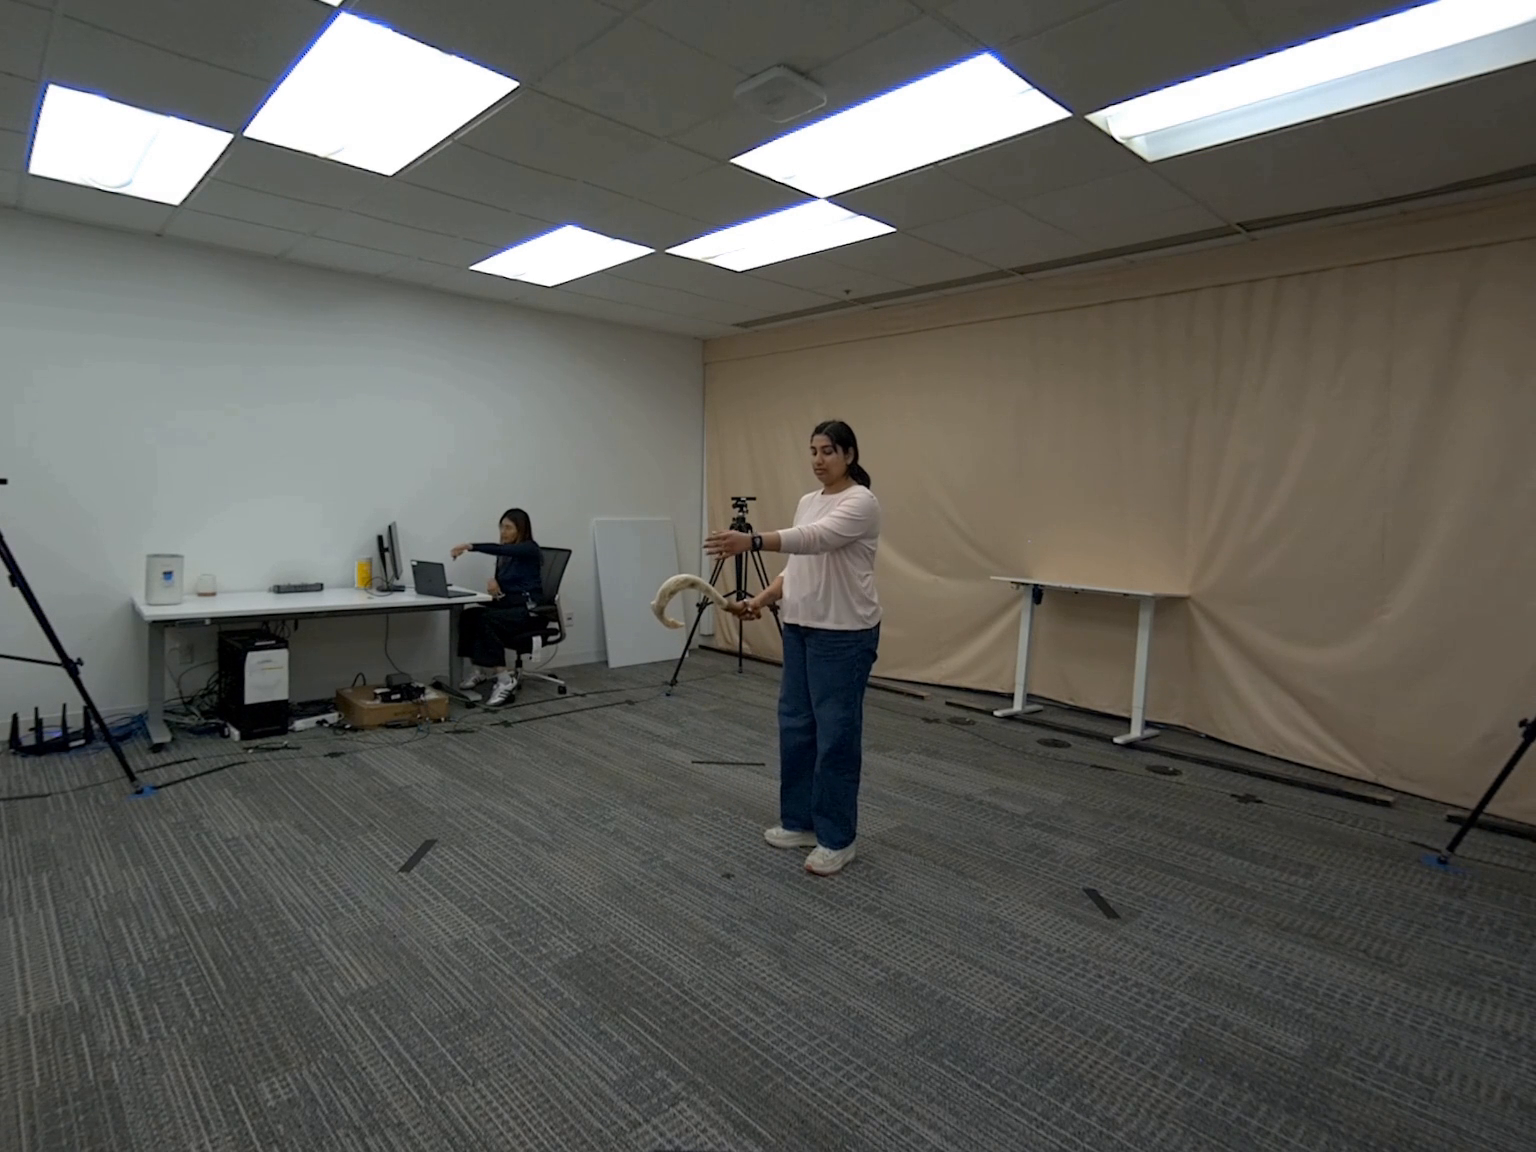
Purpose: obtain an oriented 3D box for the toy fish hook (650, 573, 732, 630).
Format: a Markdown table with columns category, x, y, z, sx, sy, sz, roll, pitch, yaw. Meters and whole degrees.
| category | x | y | z | sx | sy | sz | roll | pitch | yaw |
| --- | --- | --- | --- | --- | --- | --- | --- | --- | --- |
| toy fish hook | -0.233 | 0.131 | 3.145 | 0.491 | 0.224 | 0.050 | 23 | 22 | -43 |
